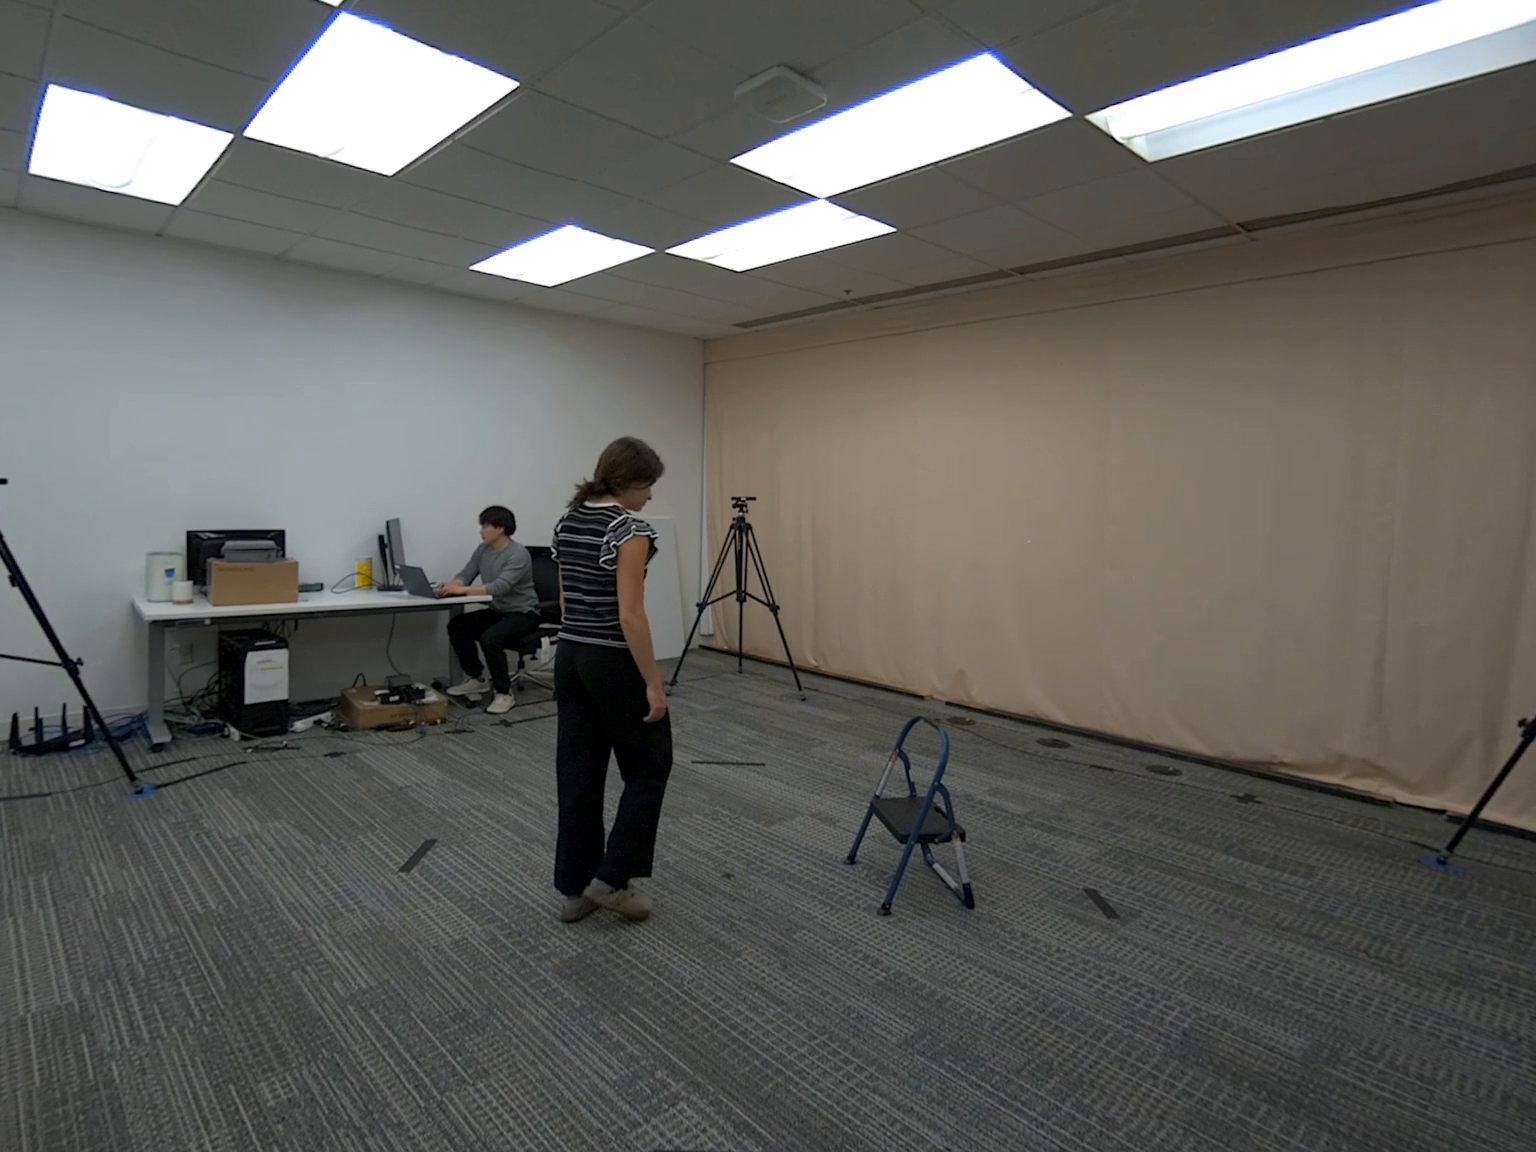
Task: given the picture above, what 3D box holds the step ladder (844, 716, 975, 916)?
[{"bbox_3d":[0.510,0.827,3.051,0.346,0.604,0.435,1,4,-11],"label":"step ladder"}]
